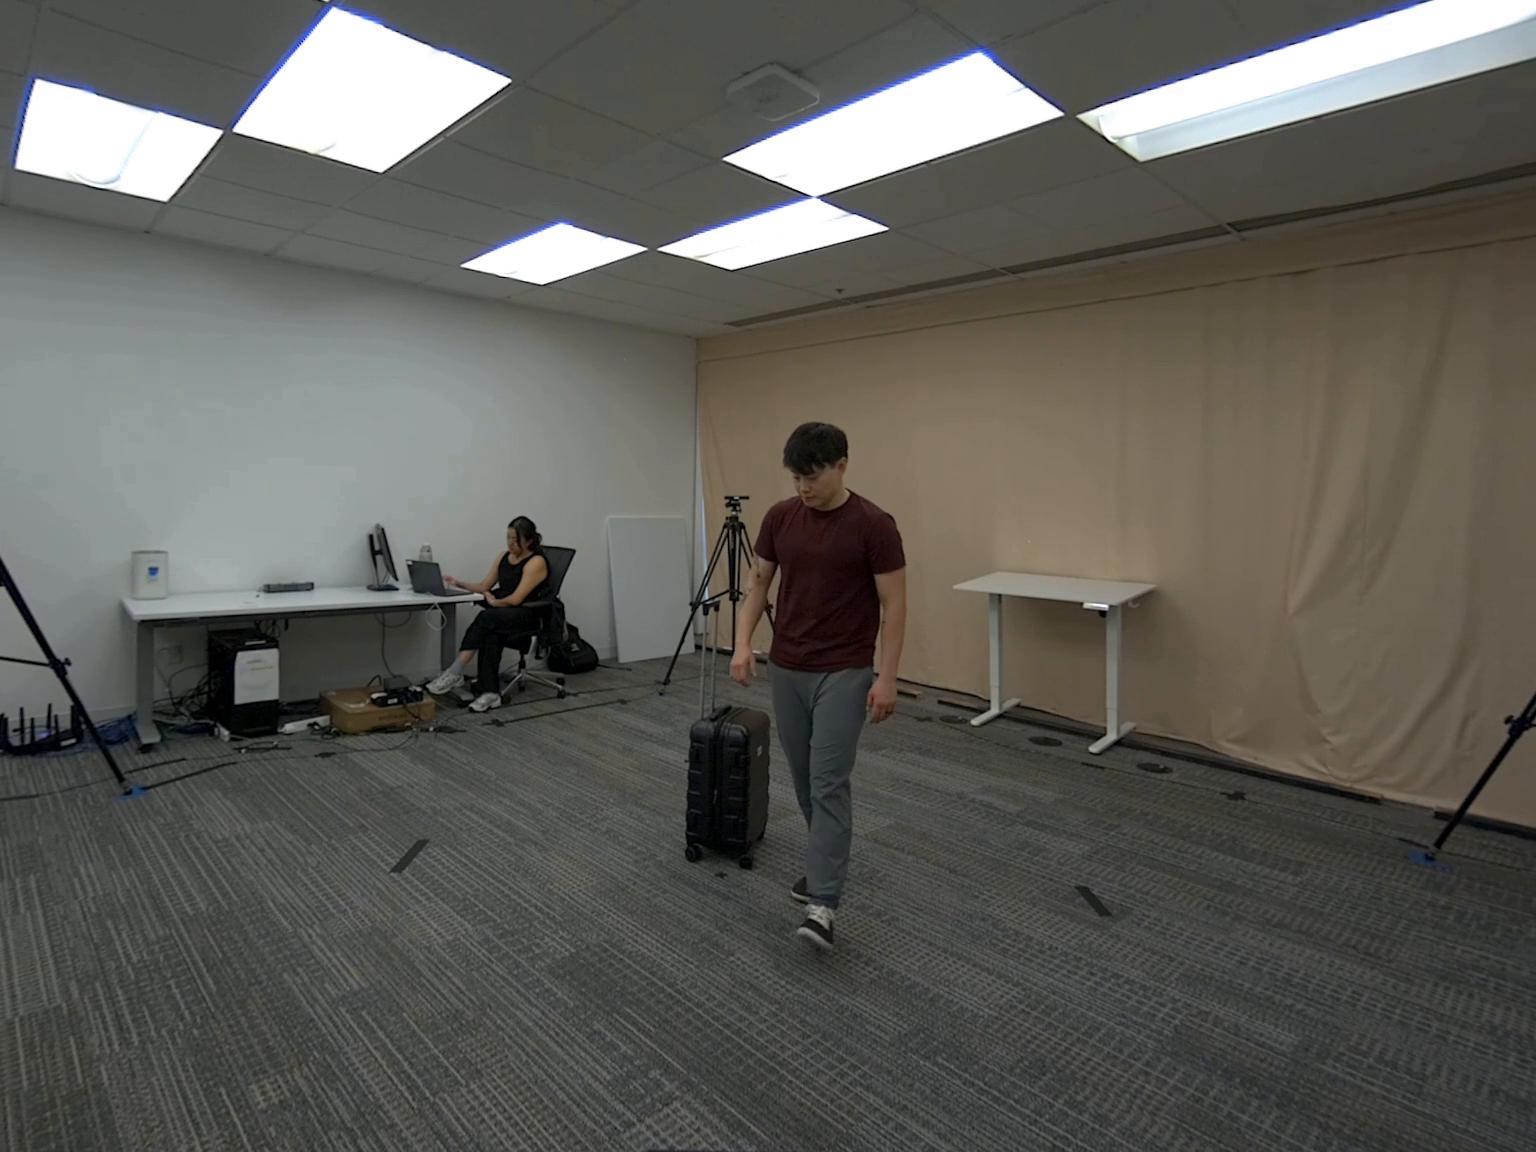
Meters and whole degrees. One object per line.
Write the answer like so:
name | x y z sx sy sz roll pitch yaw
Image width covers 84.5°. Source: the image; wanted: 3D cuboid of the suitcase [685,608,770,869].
suitcase | -0.149 0.602 3.327 0.260 0.977 0.379 4 3 15
